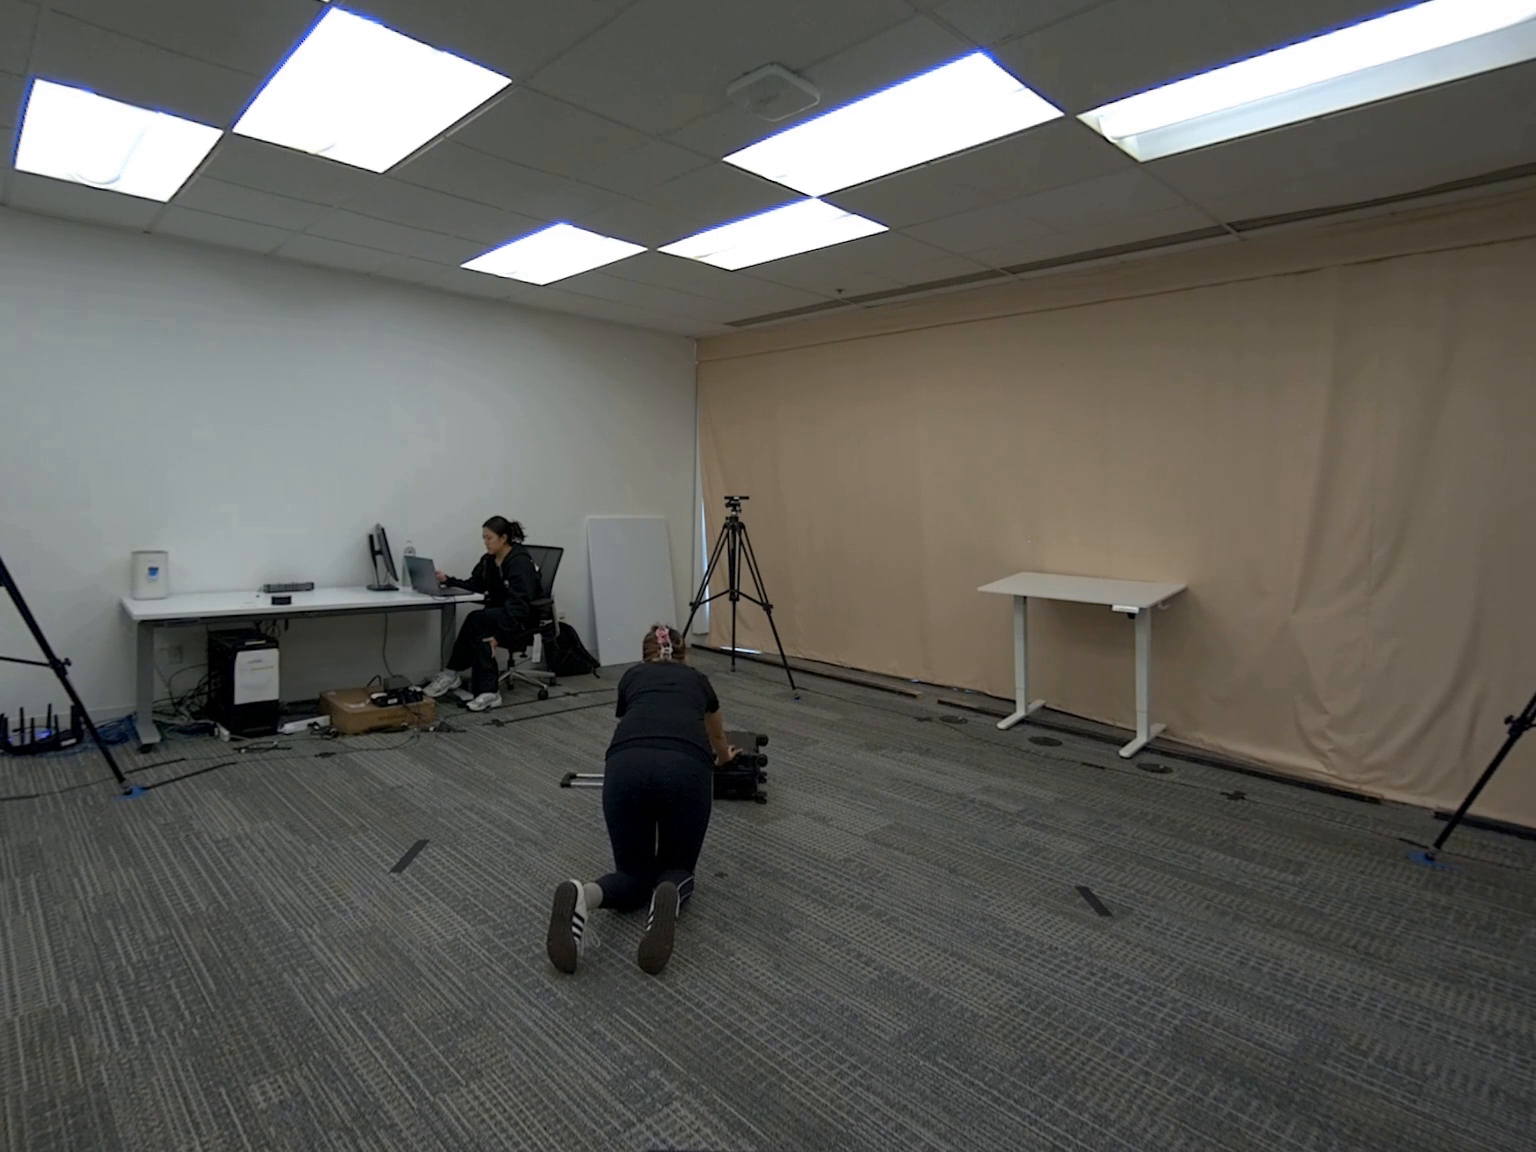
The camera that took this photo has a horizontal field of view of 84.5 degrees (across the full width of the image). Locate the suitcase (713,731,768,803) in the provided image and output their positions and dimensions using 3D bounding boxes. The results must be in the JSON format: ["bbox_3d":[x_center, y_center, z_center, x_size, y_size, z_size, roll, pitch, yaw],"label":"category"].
[{"bbox_3d":[-0.492,0.892,4.052,0.980,0.256,0.385,3,7,2],"label":"suitcase"}]
